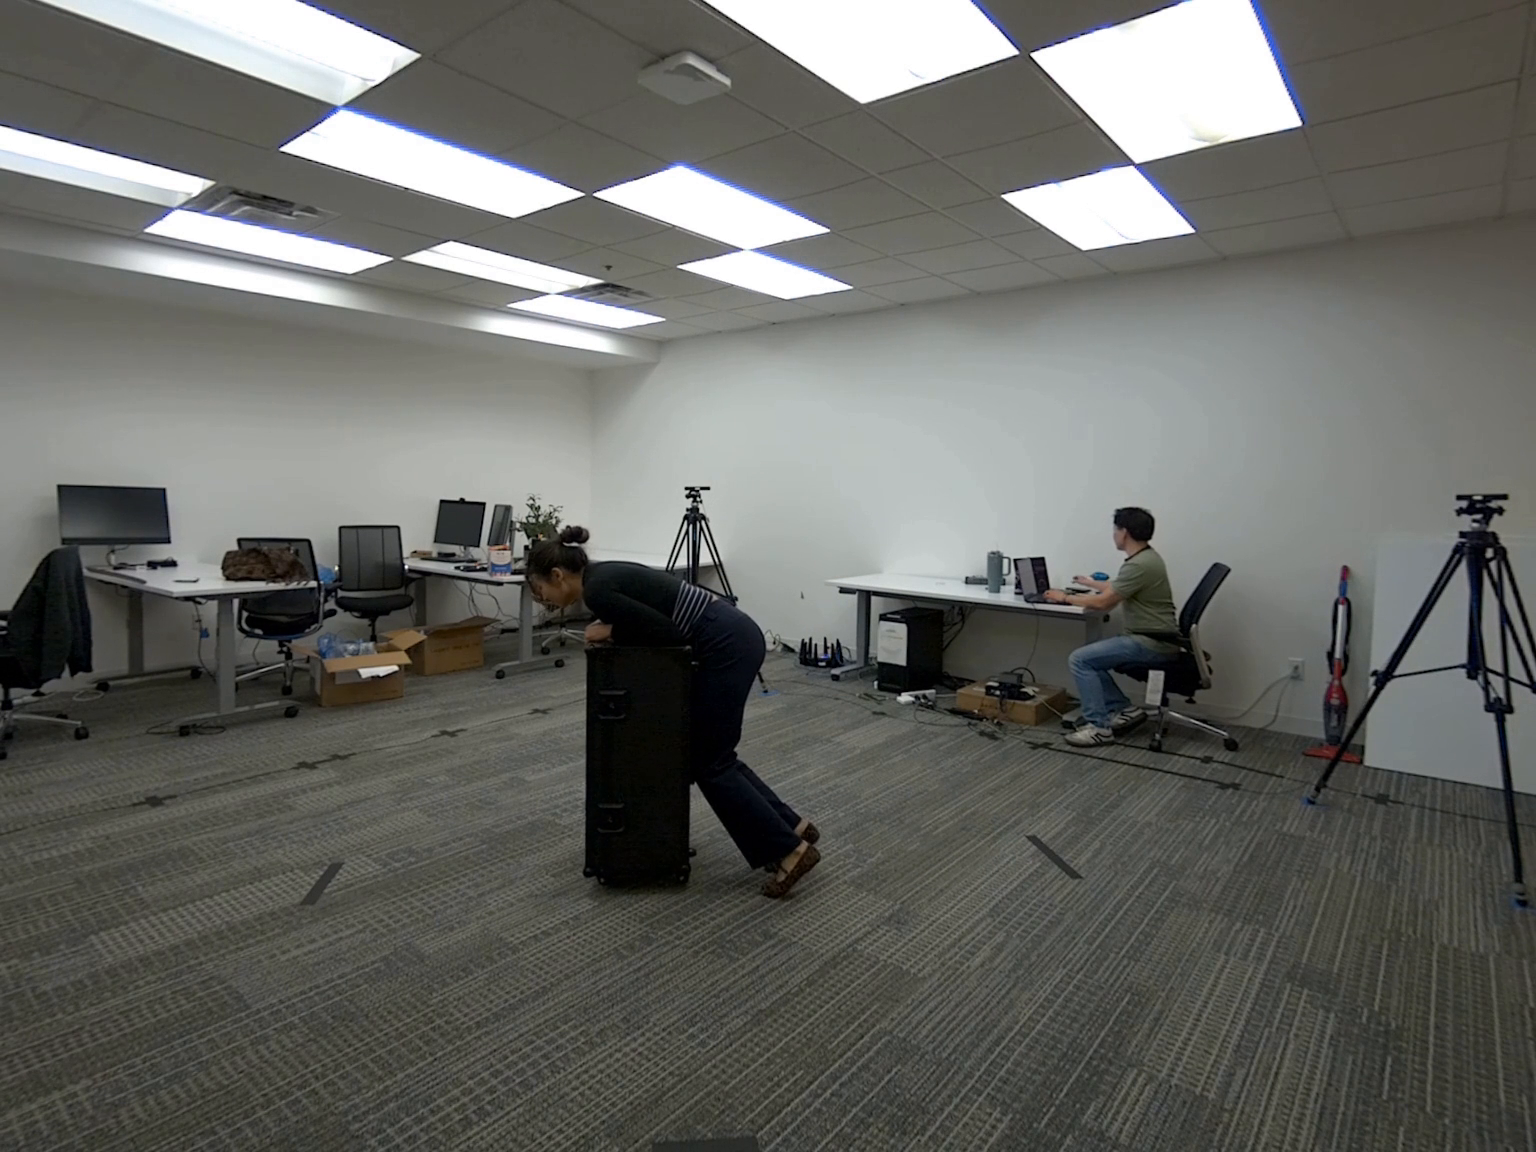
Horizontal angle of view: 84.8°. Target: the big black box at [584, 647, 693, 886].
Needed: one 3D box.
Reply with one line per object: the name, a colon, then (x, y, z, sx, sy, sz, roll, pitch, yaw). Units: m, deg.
big black box: (-0.477, 0.646, 3.106, 0.394, 0.859, 0.525, 1, 3, -6)
